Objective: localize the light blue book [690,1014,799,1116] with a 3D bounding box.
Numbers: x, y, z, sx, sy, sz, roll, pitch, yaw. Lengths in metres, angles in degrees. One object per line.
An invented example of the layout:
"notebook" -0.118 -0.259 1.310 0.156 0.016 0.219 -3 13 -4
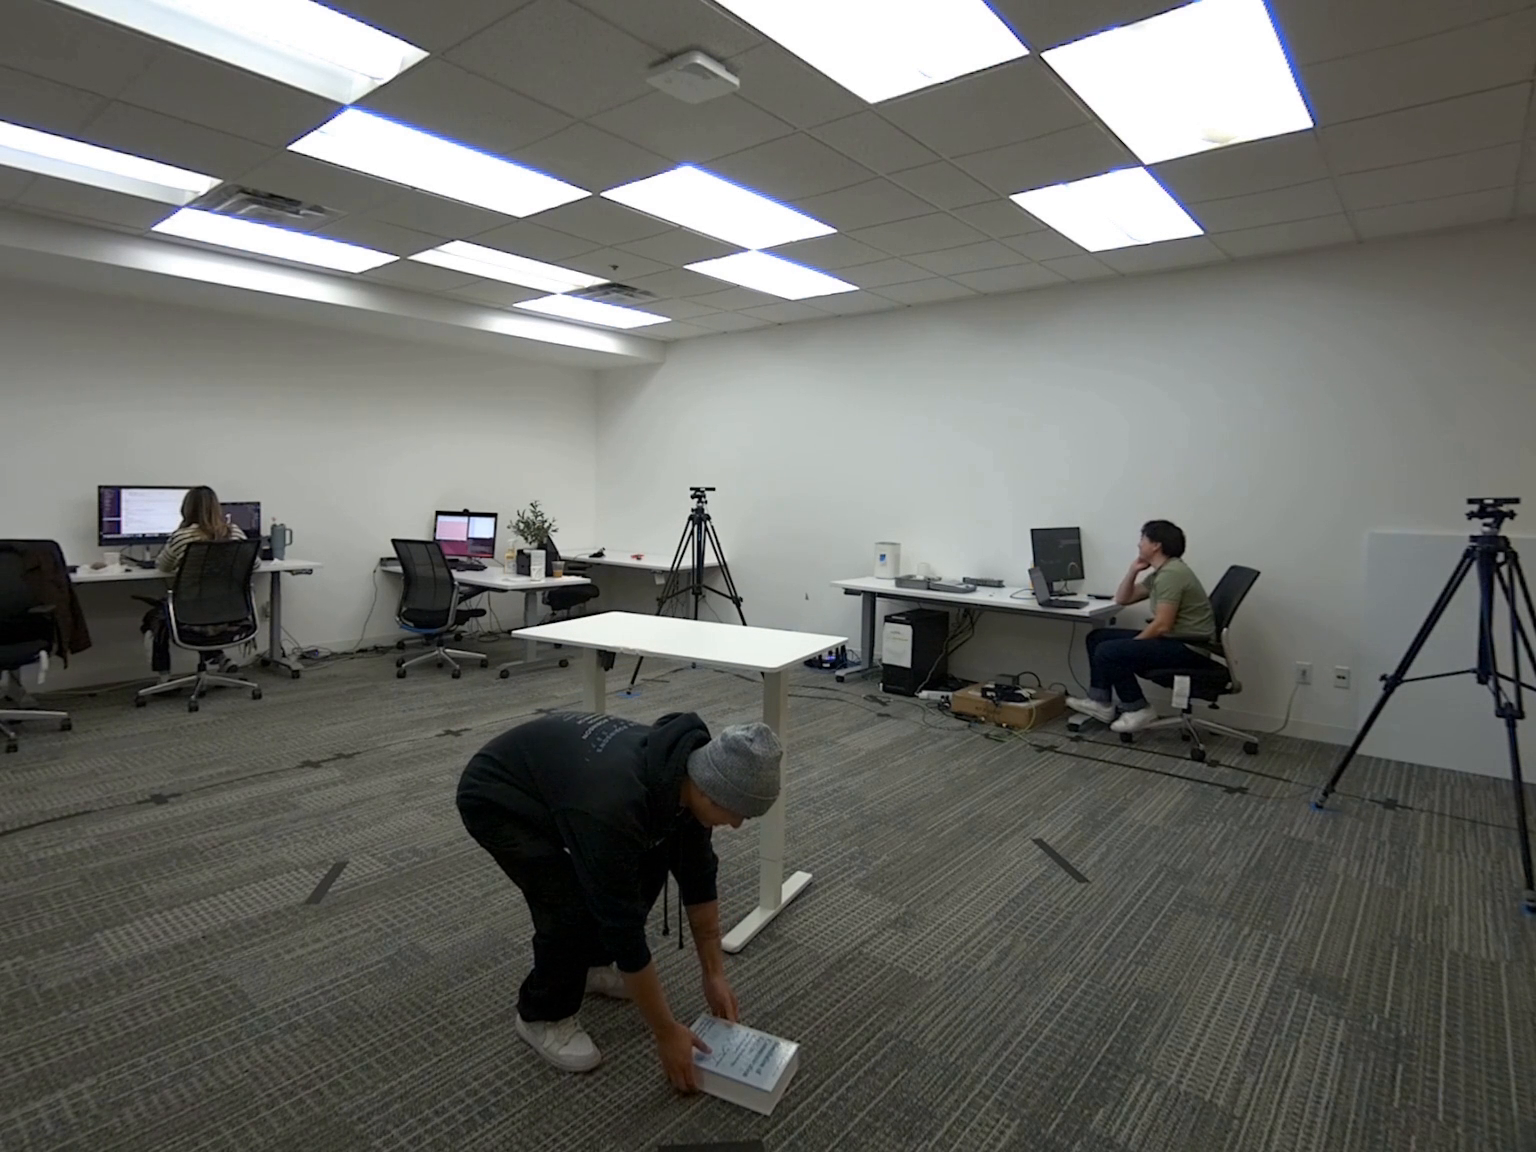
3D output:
"light blue book" -0.082 1.153 2.020 0.268 0.059 0.187 4 7 25
